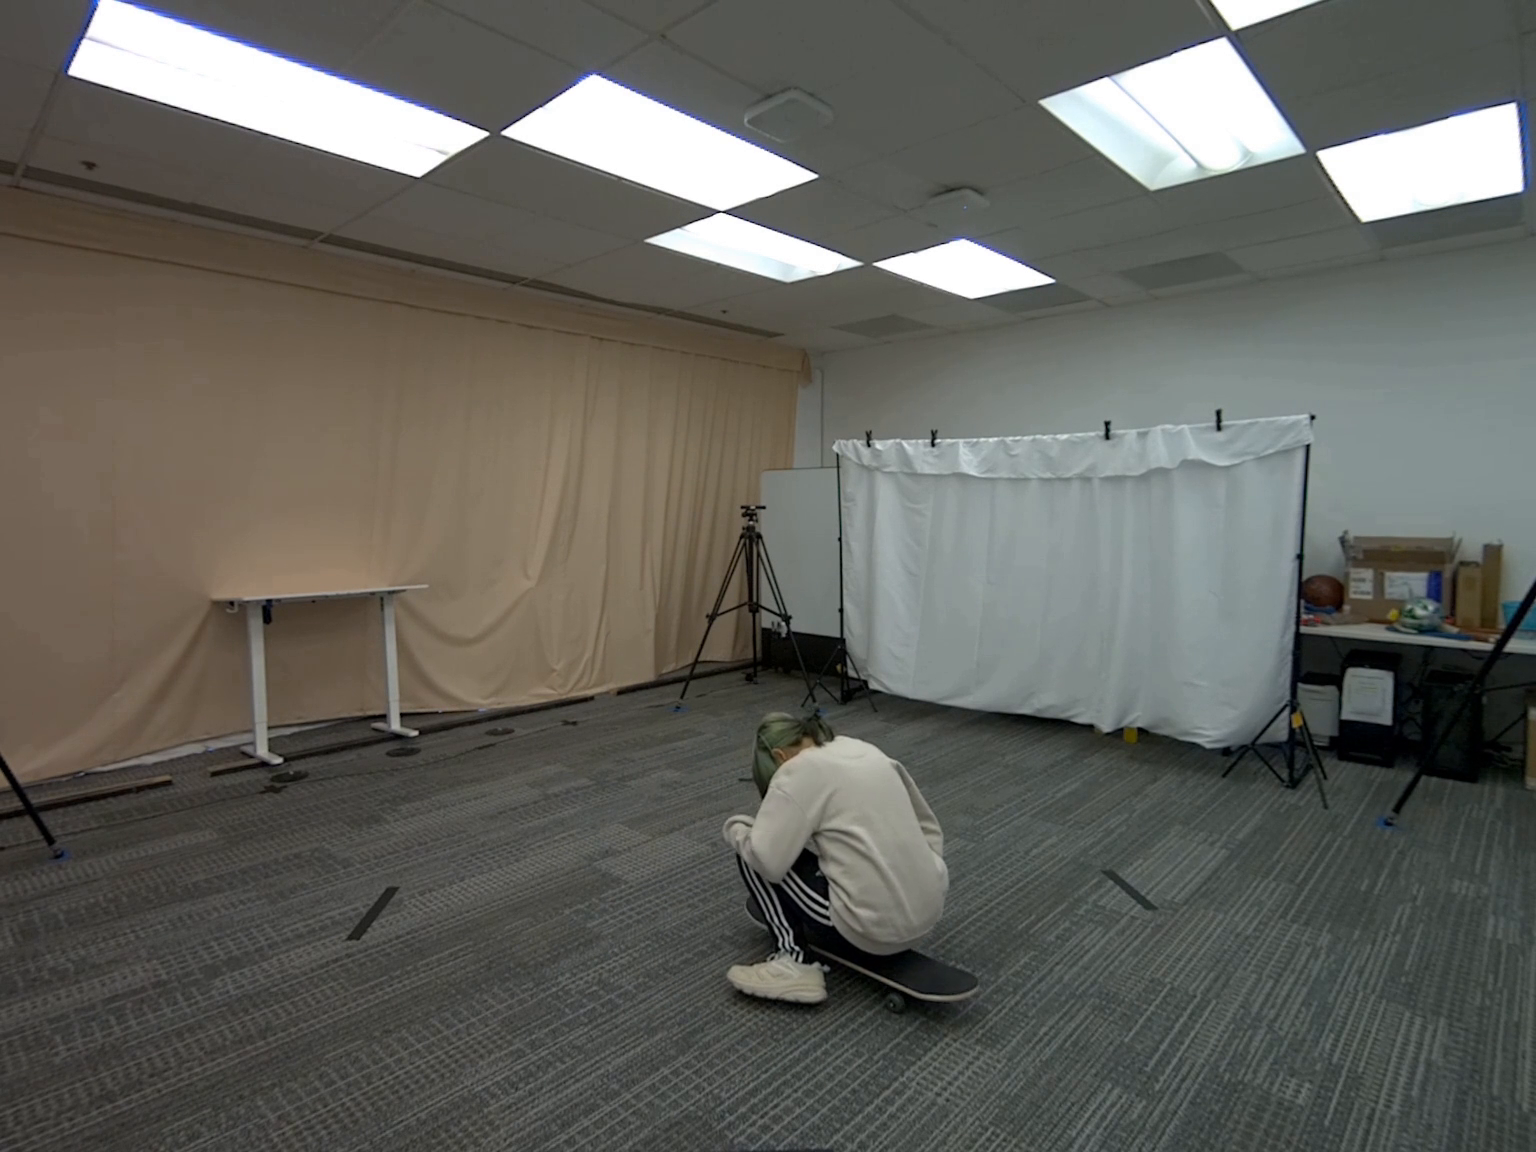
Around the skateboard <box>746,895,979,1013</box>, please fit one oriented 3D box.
[{"bbox_3d":[0.248,1.127,2.507,0.812,0.110,0.187,4,5,41],"label":"skateboard"}]
